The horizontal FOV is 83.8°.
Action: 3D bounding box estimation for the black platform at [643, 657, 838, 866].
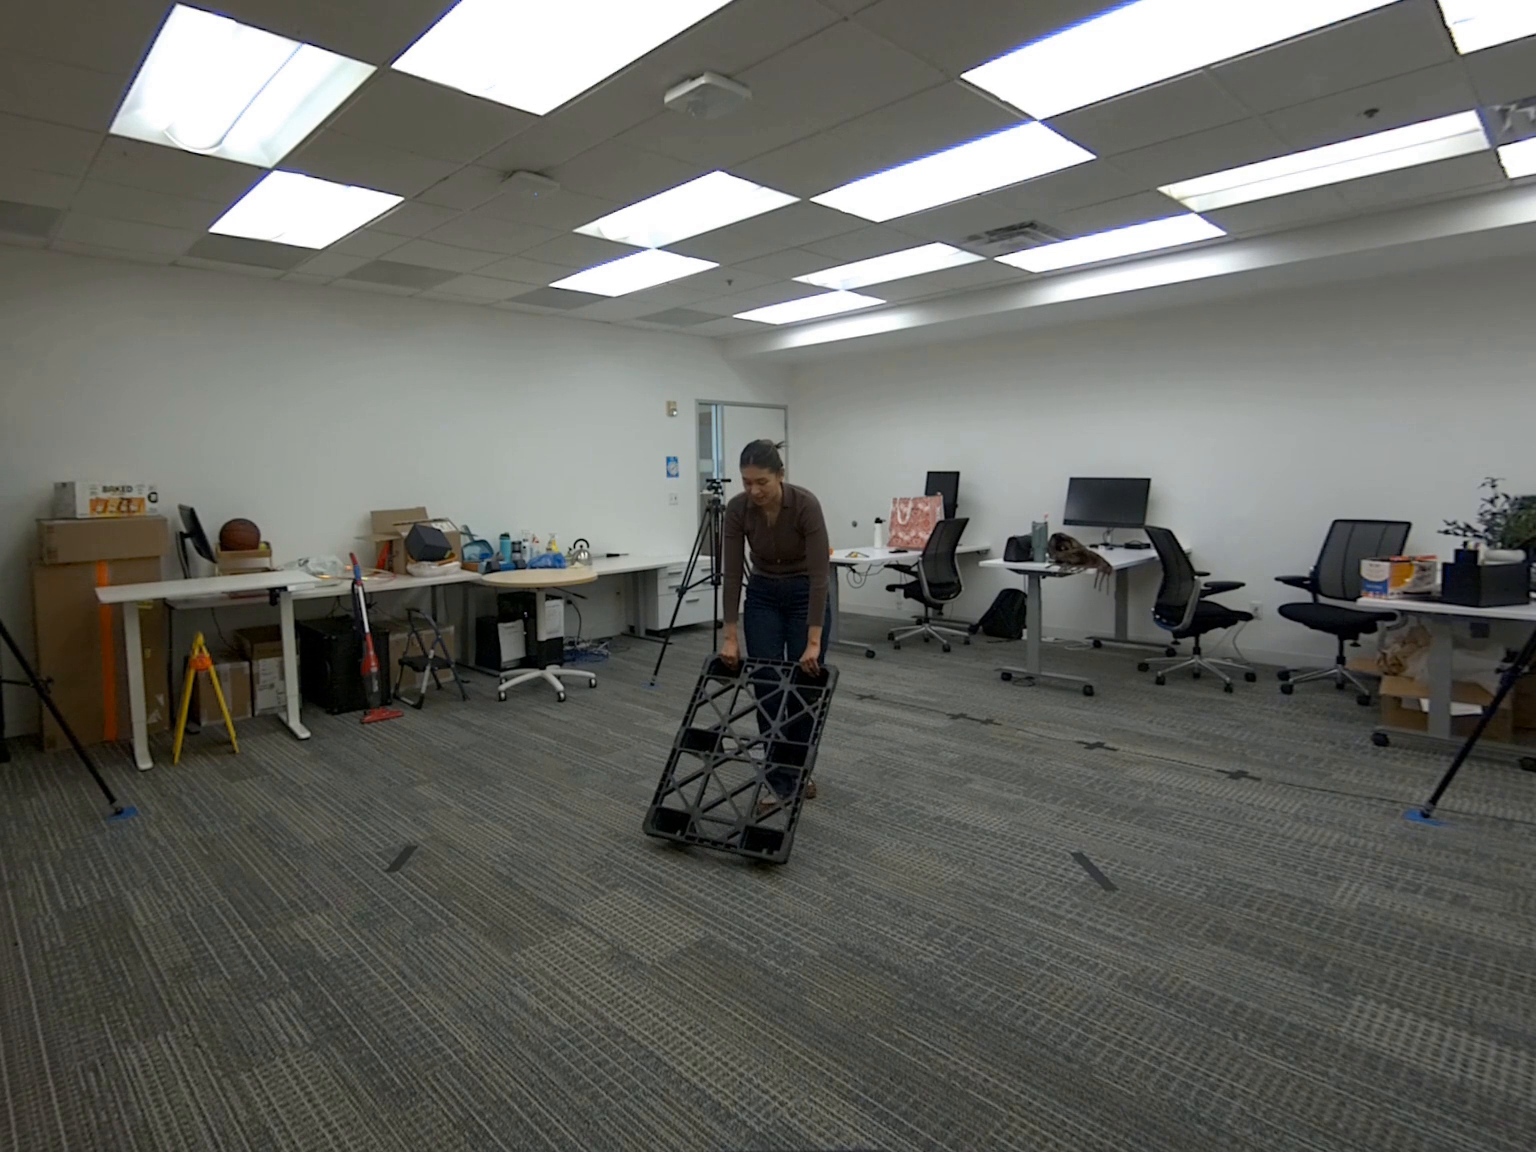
[{"bbox_3d":[-0.077,0.697,3.368,0.620,0.816,0.138,1,-37,27],"label":"black platform"}]
